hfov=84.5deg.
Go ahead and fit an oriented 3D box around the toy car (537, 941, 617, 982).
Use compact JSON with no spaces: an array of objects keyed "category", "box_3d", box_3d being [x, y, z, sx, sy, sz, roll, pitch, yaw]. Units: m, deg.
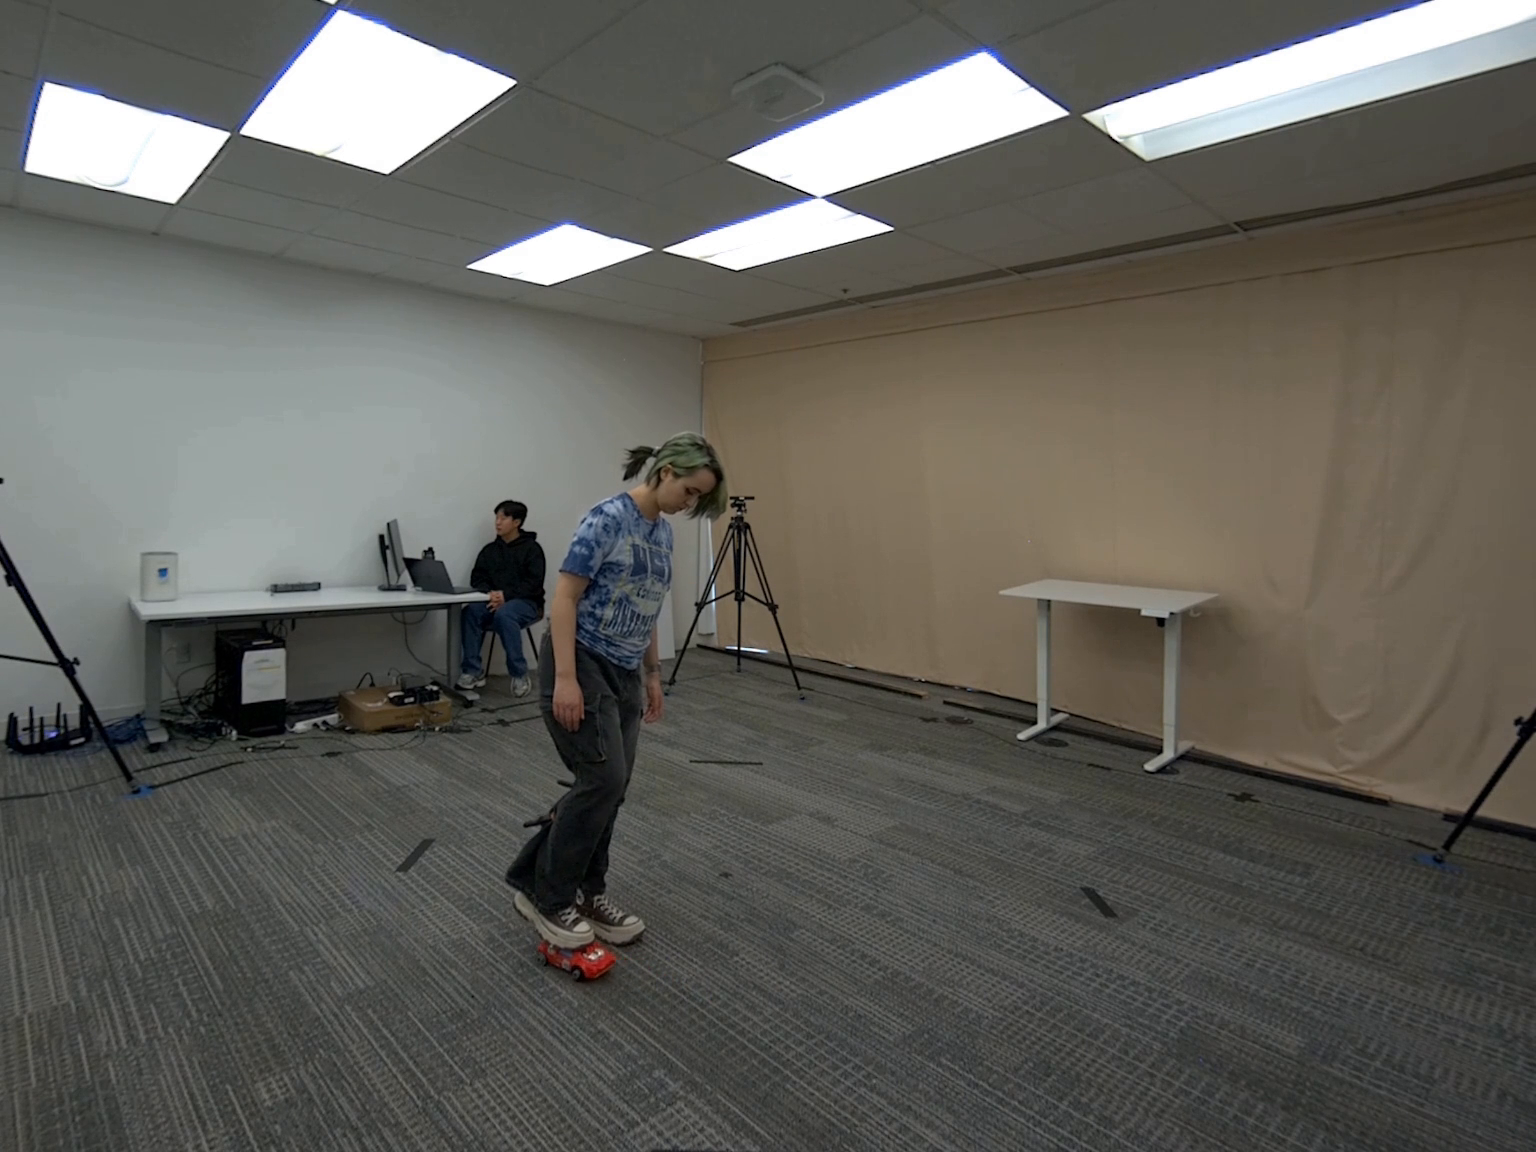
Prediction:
[{"category":"toy car","box_3d":[-0.561,1.123,2.470,0.259,0.083,0.128,-11,-1,32]}]
